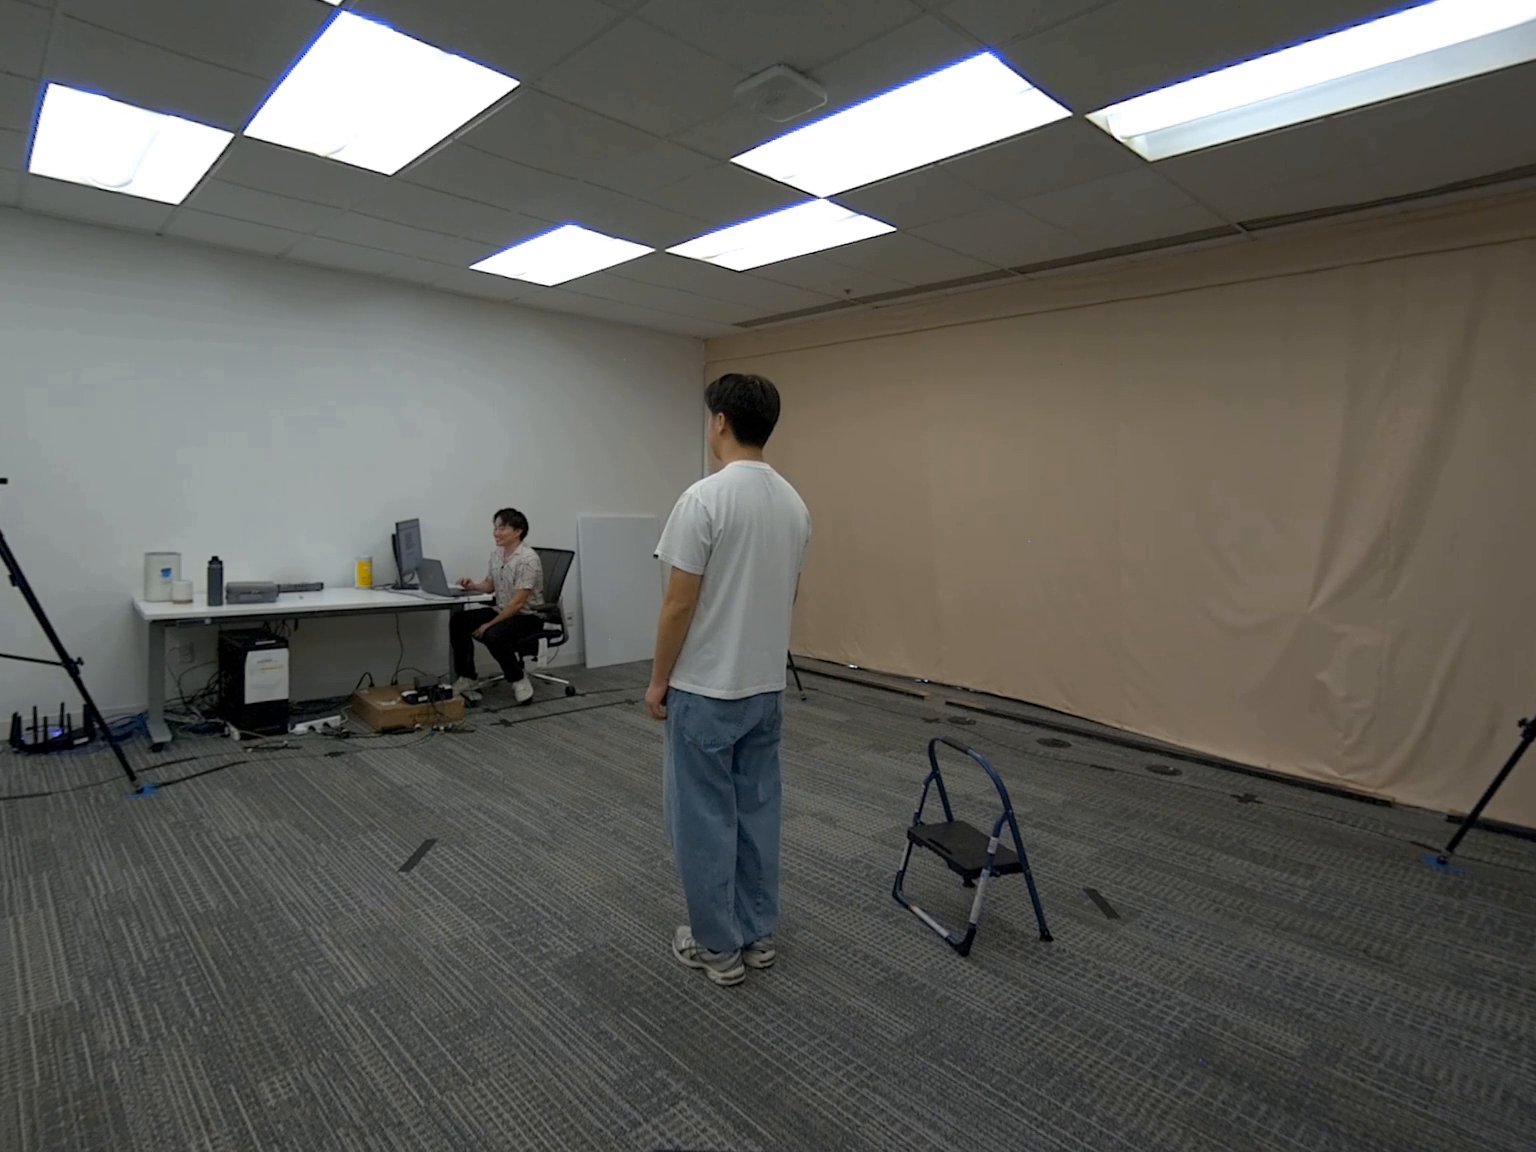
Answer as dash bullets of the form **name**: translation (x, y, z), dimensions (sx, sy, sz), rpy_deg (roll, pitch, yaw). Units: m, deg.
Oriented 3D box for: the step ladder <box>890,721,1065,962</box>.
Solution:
- **step ladder**: translation (0.682, 0.849, 2.824), dimensions (0.343, 0.605, 0.439), rpy_deg (0, 3, -23)
